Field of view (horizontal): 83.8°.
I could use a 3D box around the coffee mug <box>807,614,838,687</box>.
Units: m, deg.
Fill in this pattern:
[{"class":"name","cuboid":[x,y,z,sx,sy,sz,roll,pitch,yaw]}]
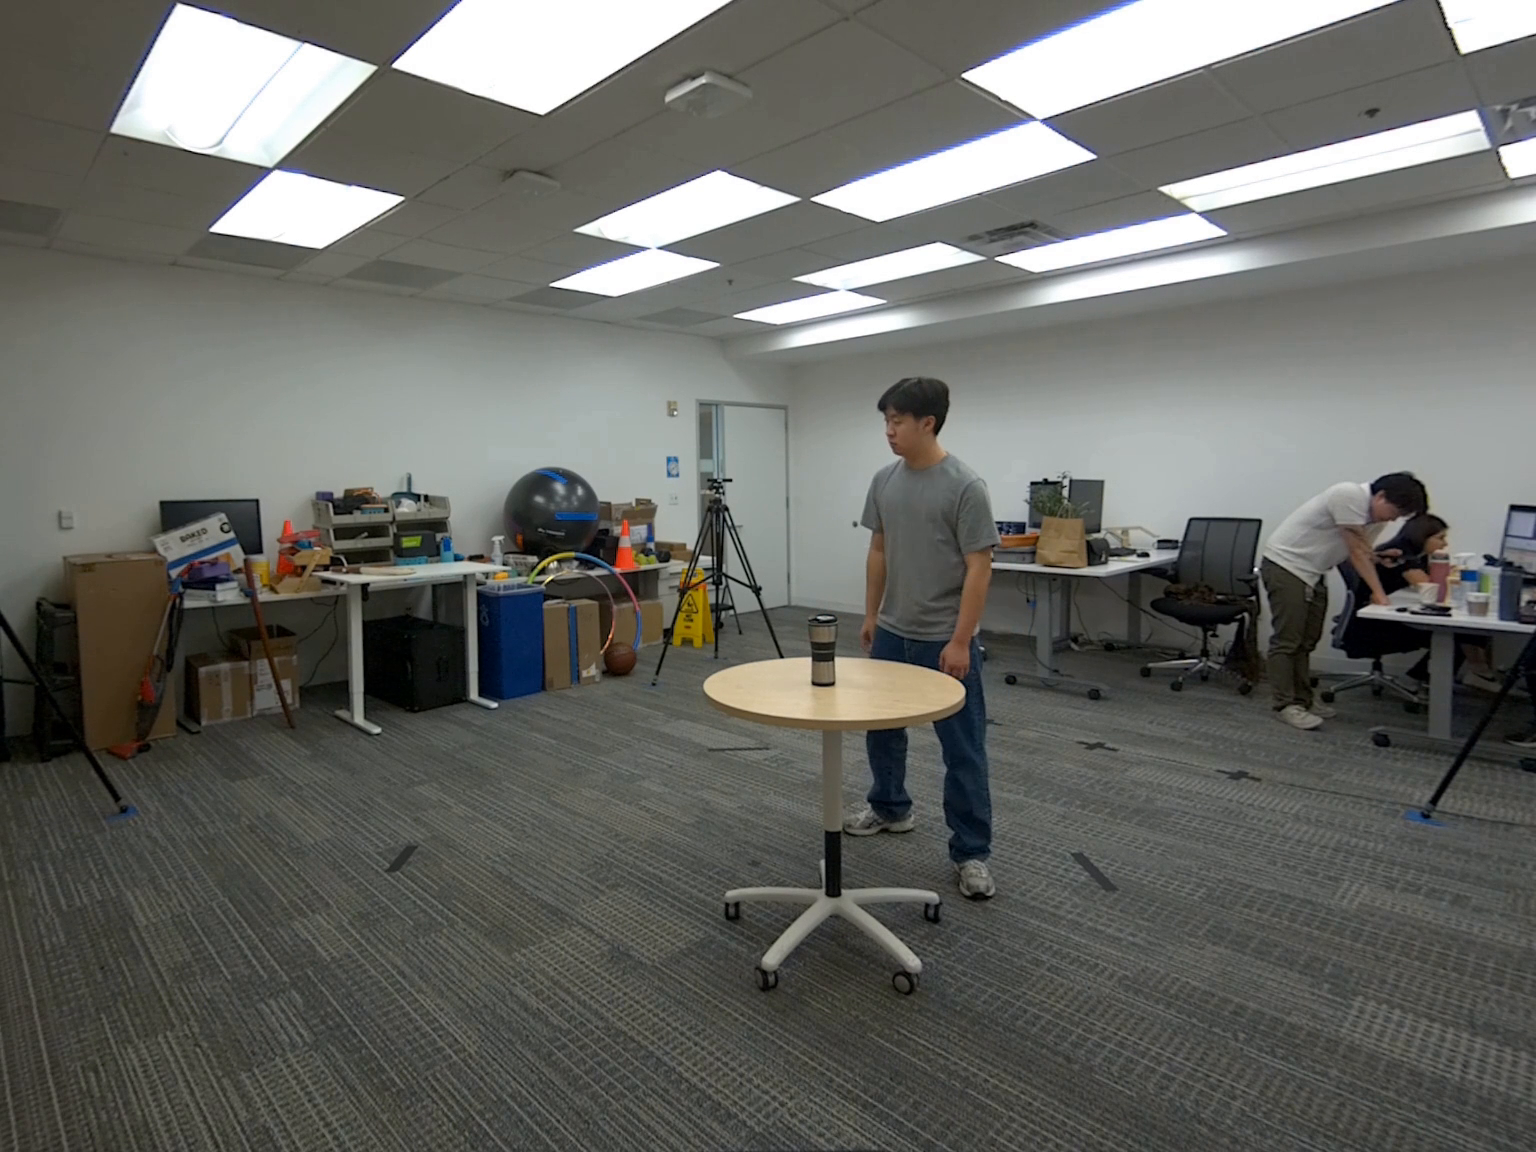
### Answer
[{"class":"coffee mug","cuboid":[0.181,0.219,2.548,0.090,0.202,0.119,-4,6,38]}]
